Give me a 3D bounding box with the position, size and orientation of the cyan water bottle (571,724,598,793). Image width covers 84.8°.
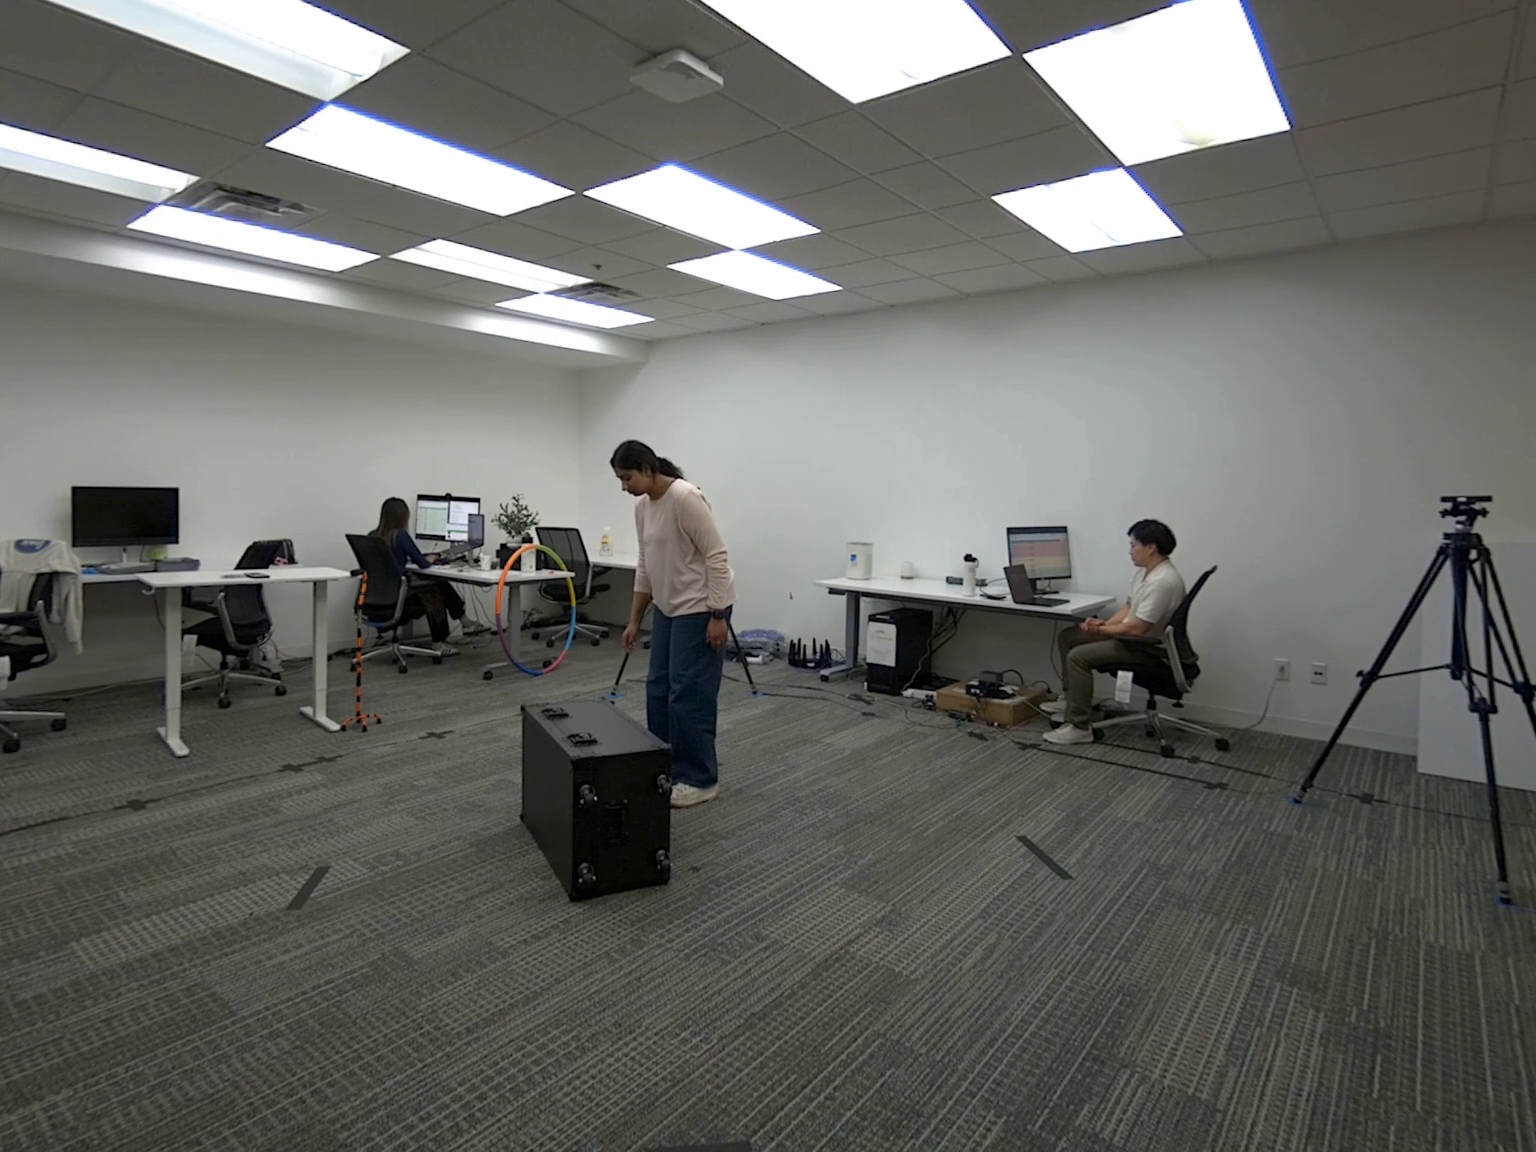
[{"bbox_3d":[-0.846,0.836,3.867,0.092,0.282,0.093,-2,6,-2],"label":"cyan water bottle"}]
